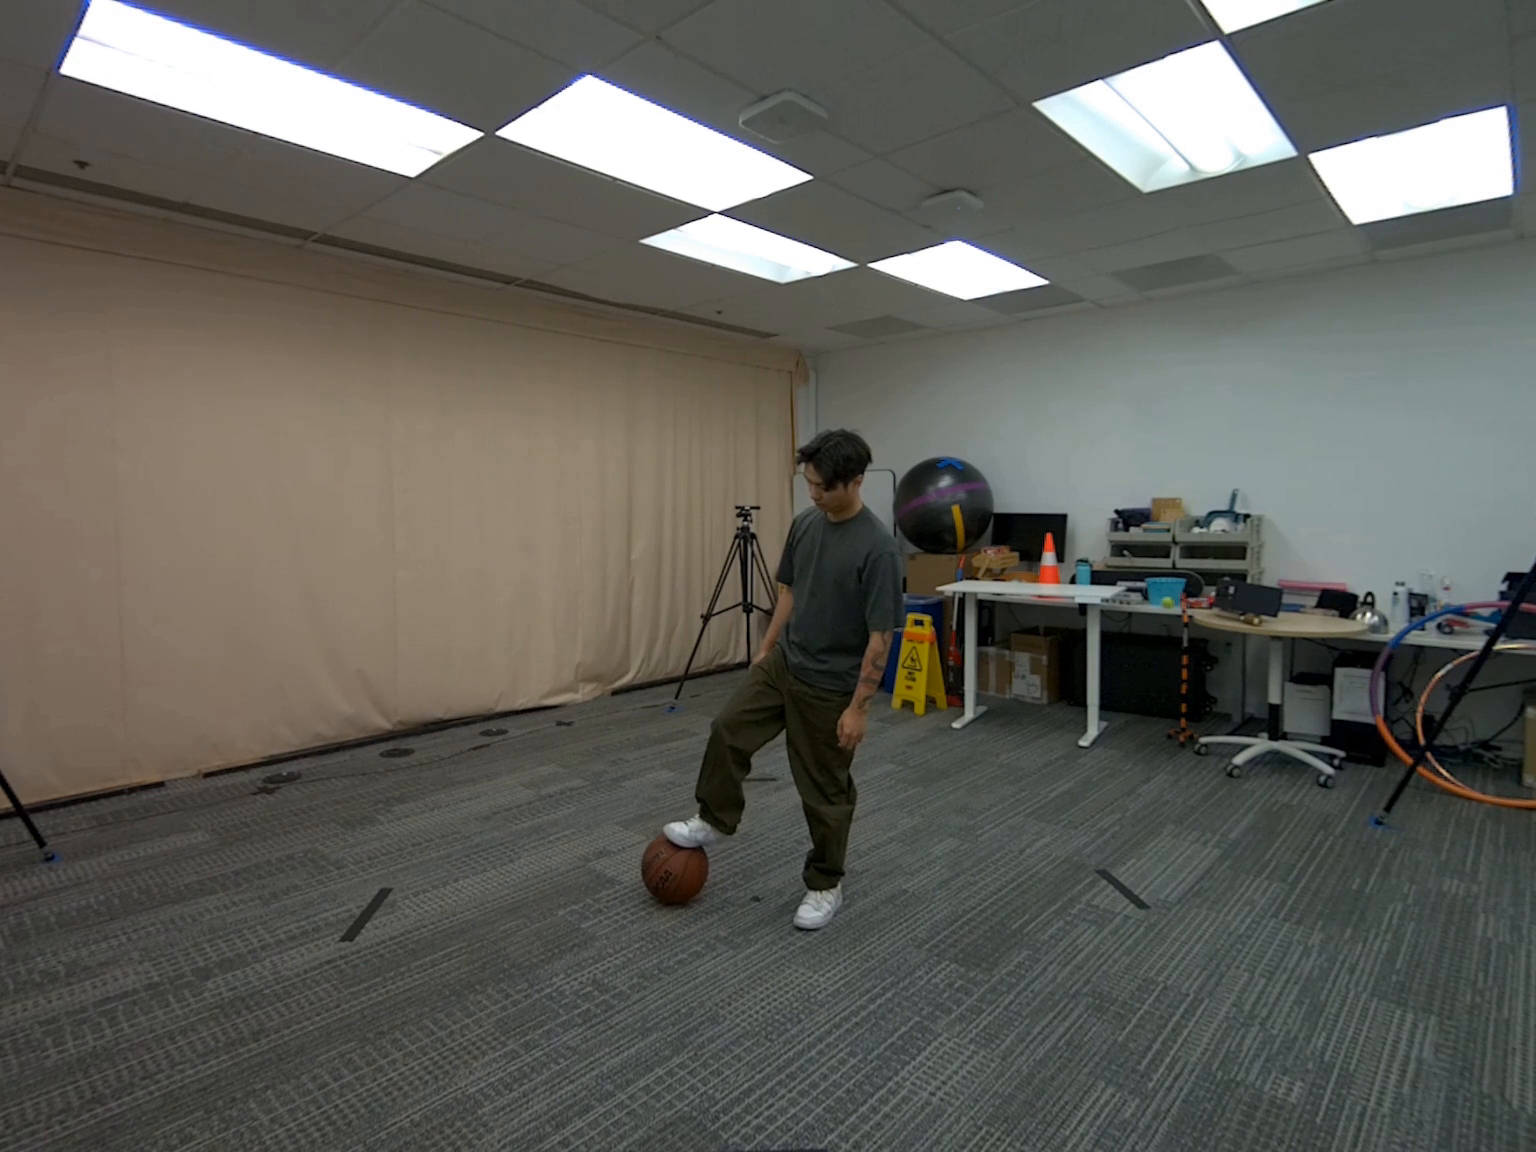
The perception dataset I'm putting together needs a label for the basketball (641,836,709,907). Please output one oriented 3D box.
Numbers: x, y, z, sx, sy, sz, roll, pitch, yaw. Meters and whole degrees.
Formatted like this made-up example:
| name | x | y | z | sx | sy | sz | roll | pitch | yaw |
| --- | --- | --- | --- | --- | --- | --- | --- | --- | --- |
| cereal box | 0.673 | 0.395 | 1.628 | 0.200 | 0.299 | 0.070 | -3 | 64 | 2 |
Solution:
| name | x | y | z | sx | sy | sz | roll | pitch | yaw |
| --- | --- | --- | --- | --- | --- | --- | --- | --- | --- |
| basketball | -0.328 | 1.028 | 2.978 | 0.236 | 0.235 | 0.237 | 0 | 4 | -2 |
